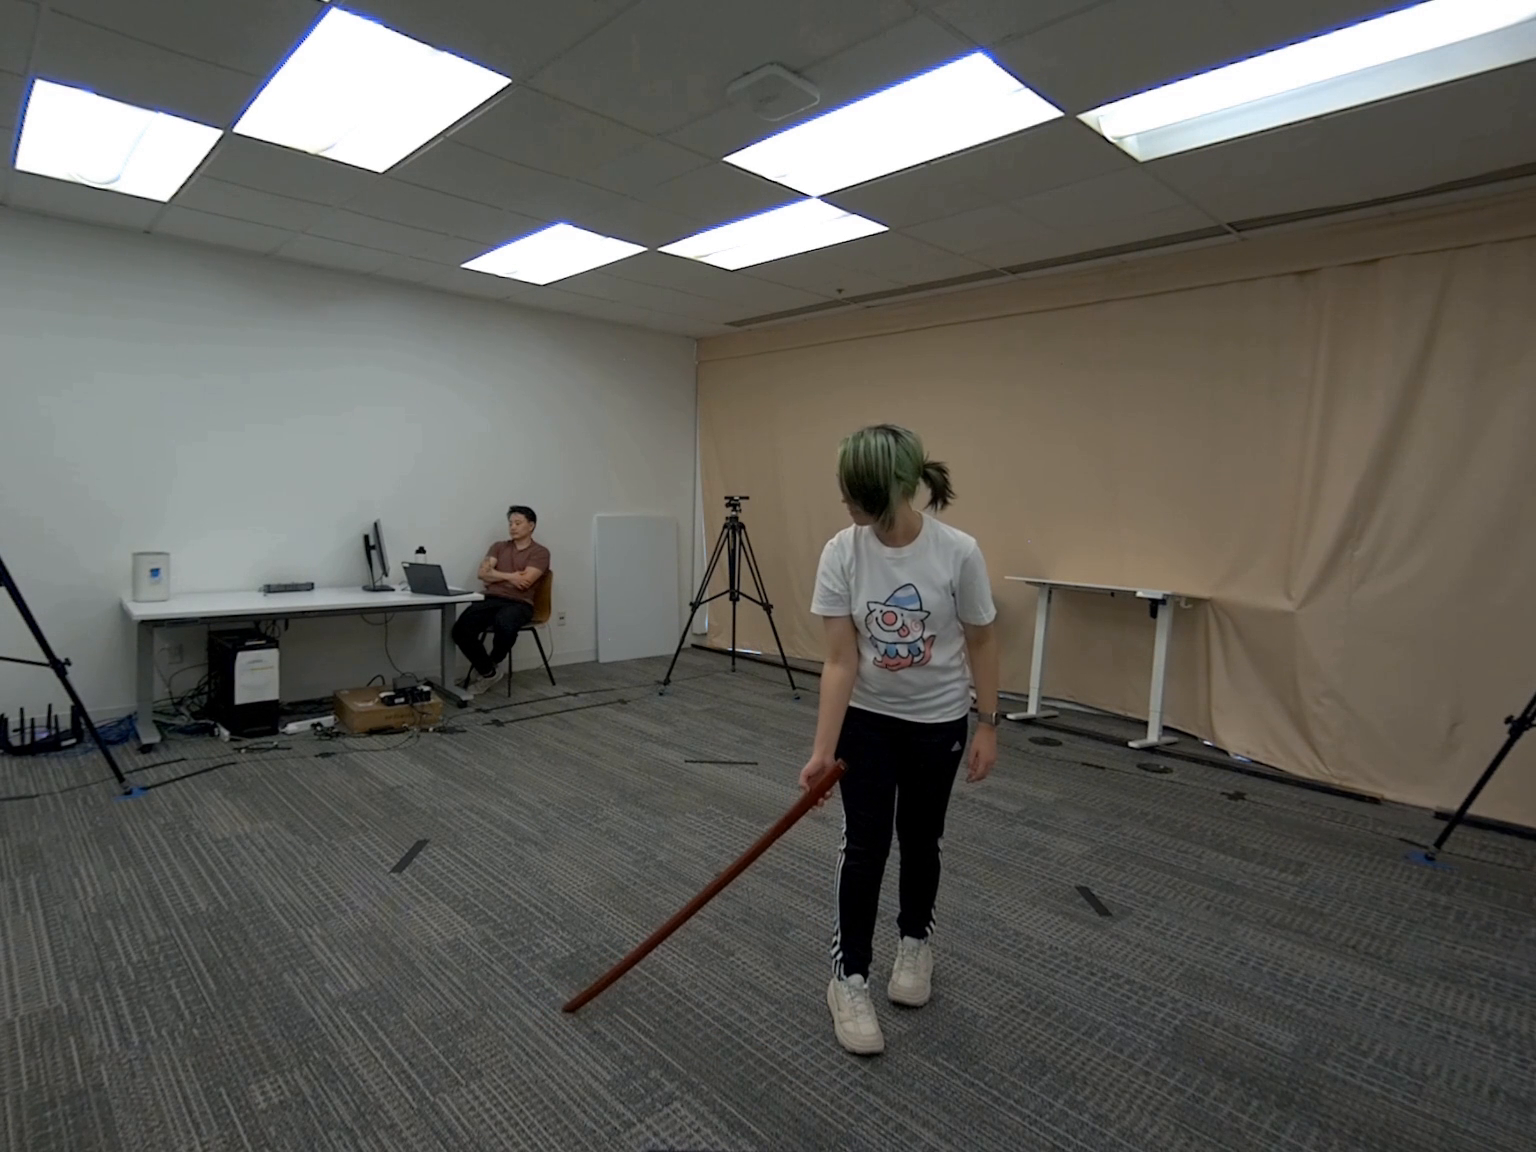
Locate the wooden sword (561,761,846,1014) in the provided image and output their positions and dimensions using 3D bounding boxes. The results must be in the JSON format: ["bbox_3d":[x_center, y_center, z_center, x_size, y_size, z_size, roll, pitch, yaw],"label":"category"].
[{"bbox_3d":[-0.167,0.832,2.175,1.025,0.024,0.052,-42,14,10],"label":"wooden sword"}]
